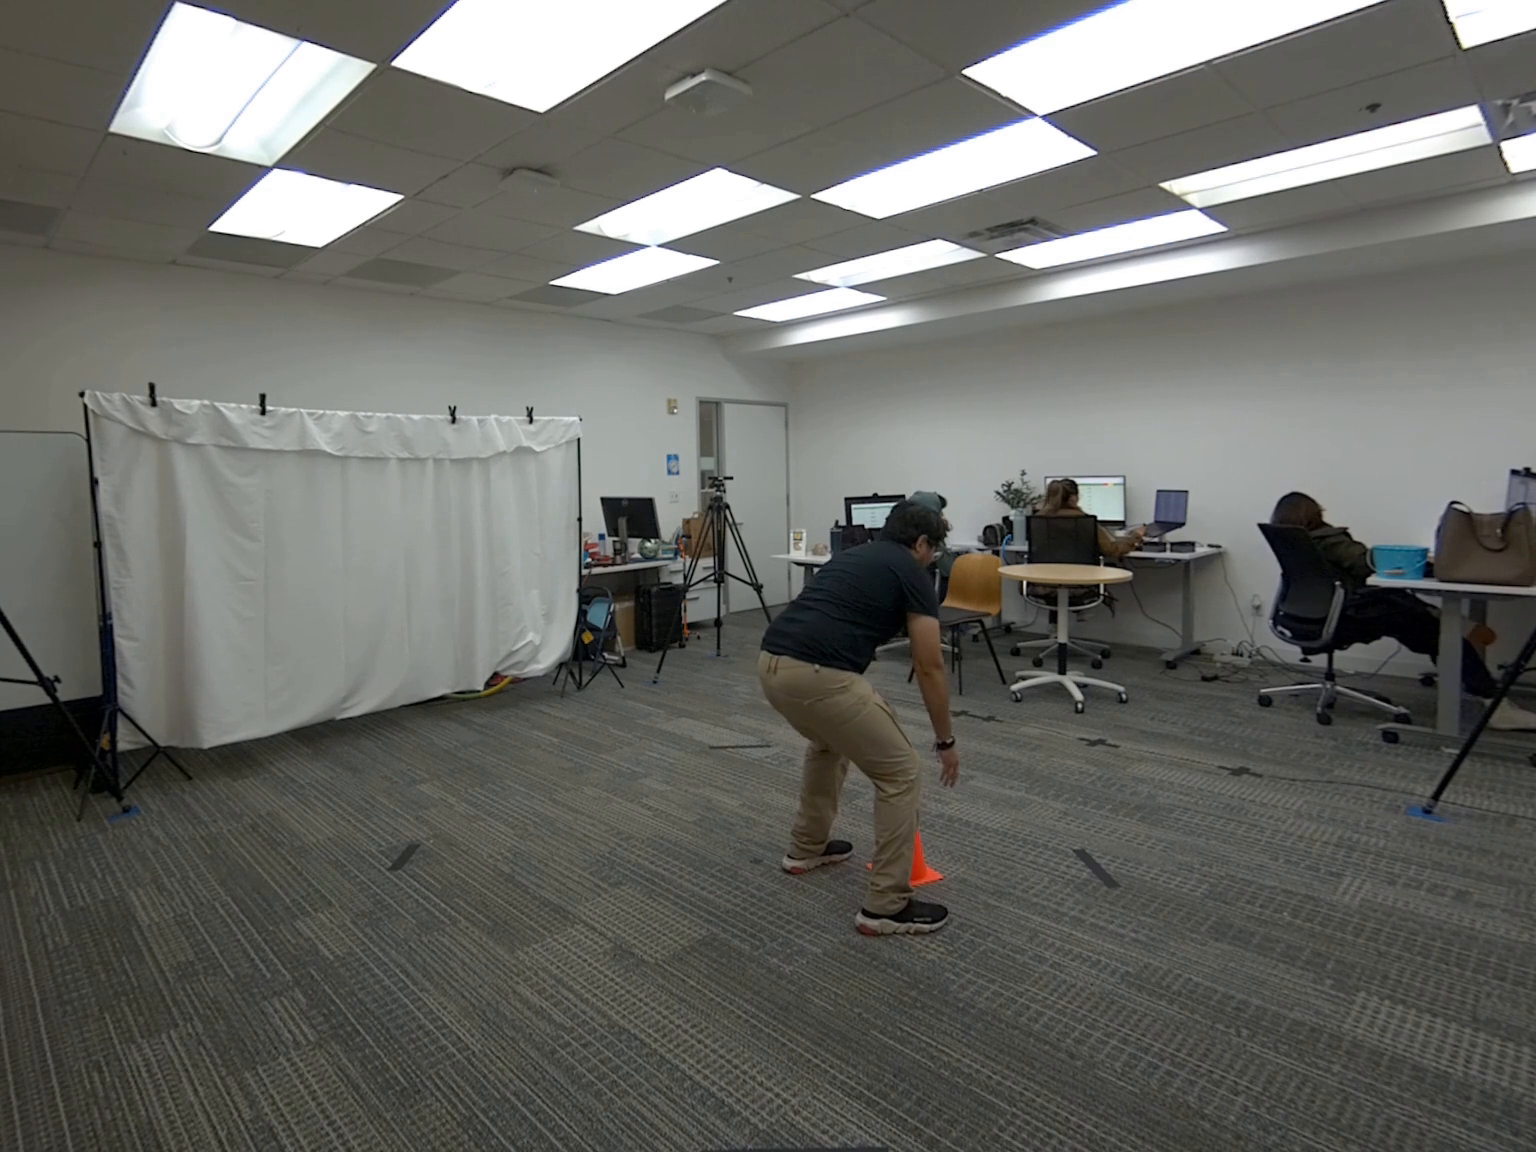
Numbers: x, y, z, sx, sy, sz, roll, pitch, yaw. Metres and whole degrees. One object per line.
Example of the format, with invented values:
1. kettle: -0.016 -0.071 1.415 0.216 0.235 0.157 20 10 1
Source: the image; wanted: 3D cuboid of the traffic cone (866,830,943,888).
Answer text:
1. traffic cone: 0.484 0.856 2.988 0.202 0.383 0.207 -3 3 -17
